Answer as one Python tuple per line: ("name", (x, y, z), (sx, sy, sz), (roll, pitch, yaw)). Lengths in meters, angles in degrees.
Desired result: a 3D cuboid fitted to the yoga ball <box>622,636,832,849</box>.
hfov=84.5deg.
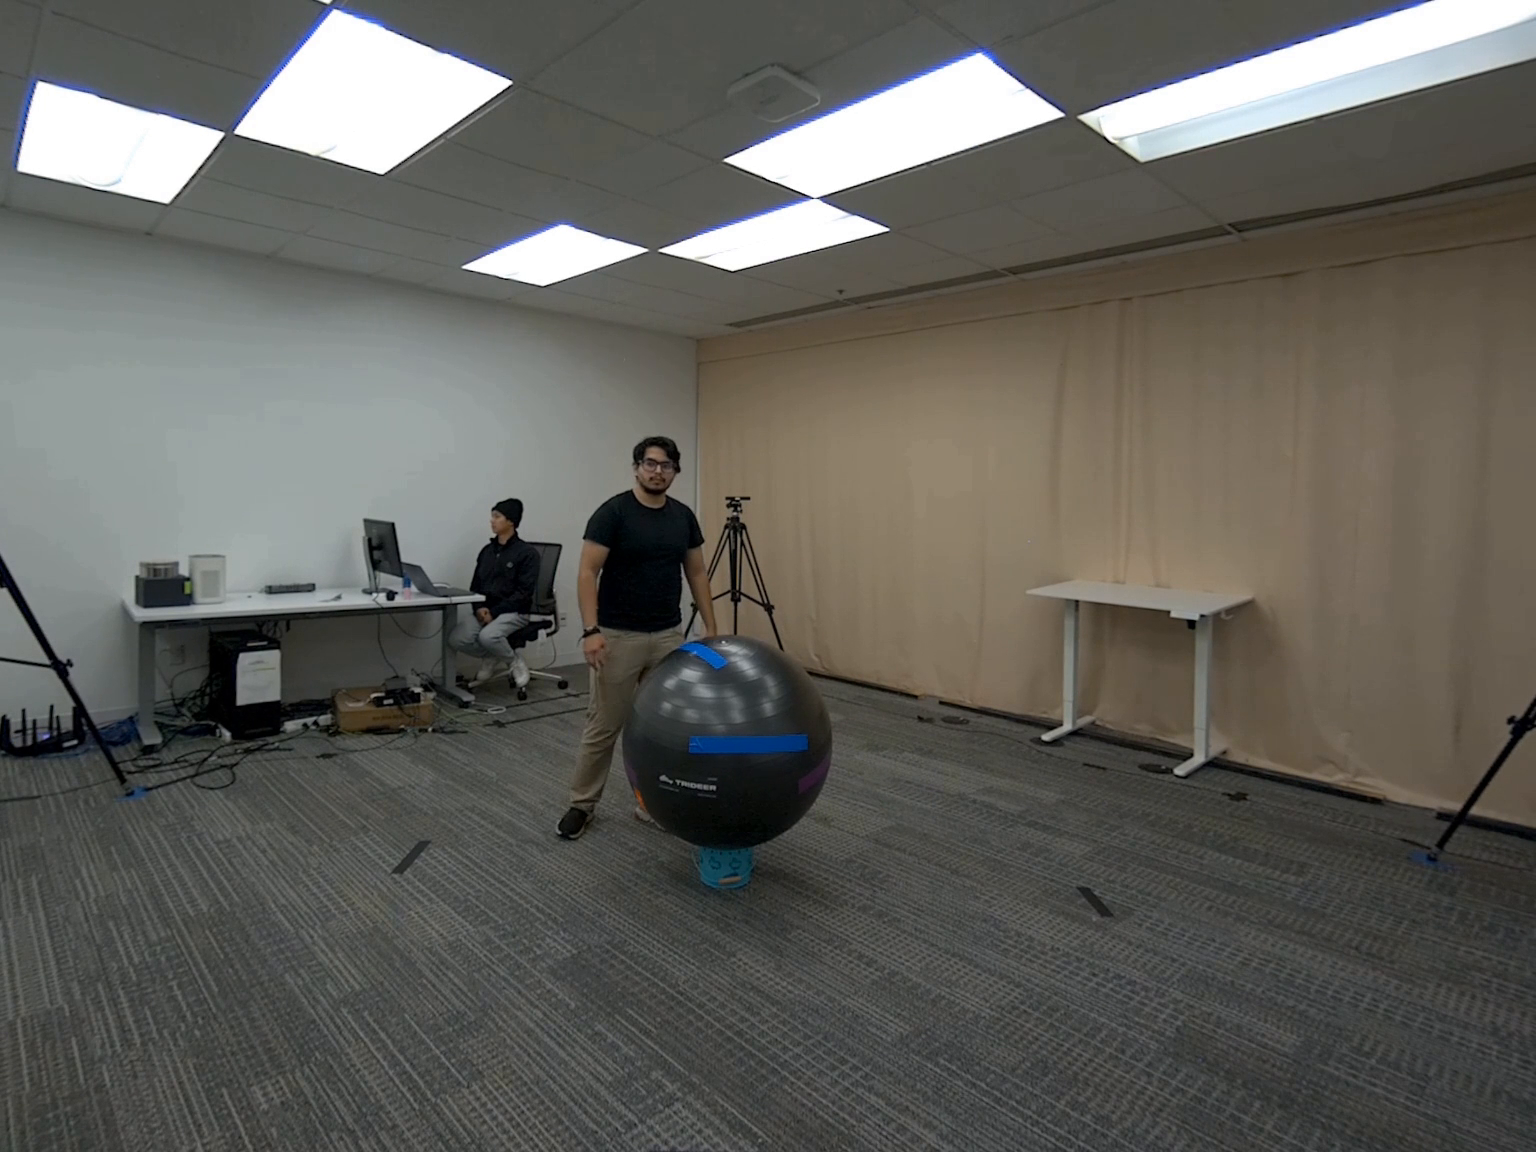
("yoga ball", (-0.146, 0.607, 3.048), (0.757, 0.756, 0.760), (1, 4, -1))
